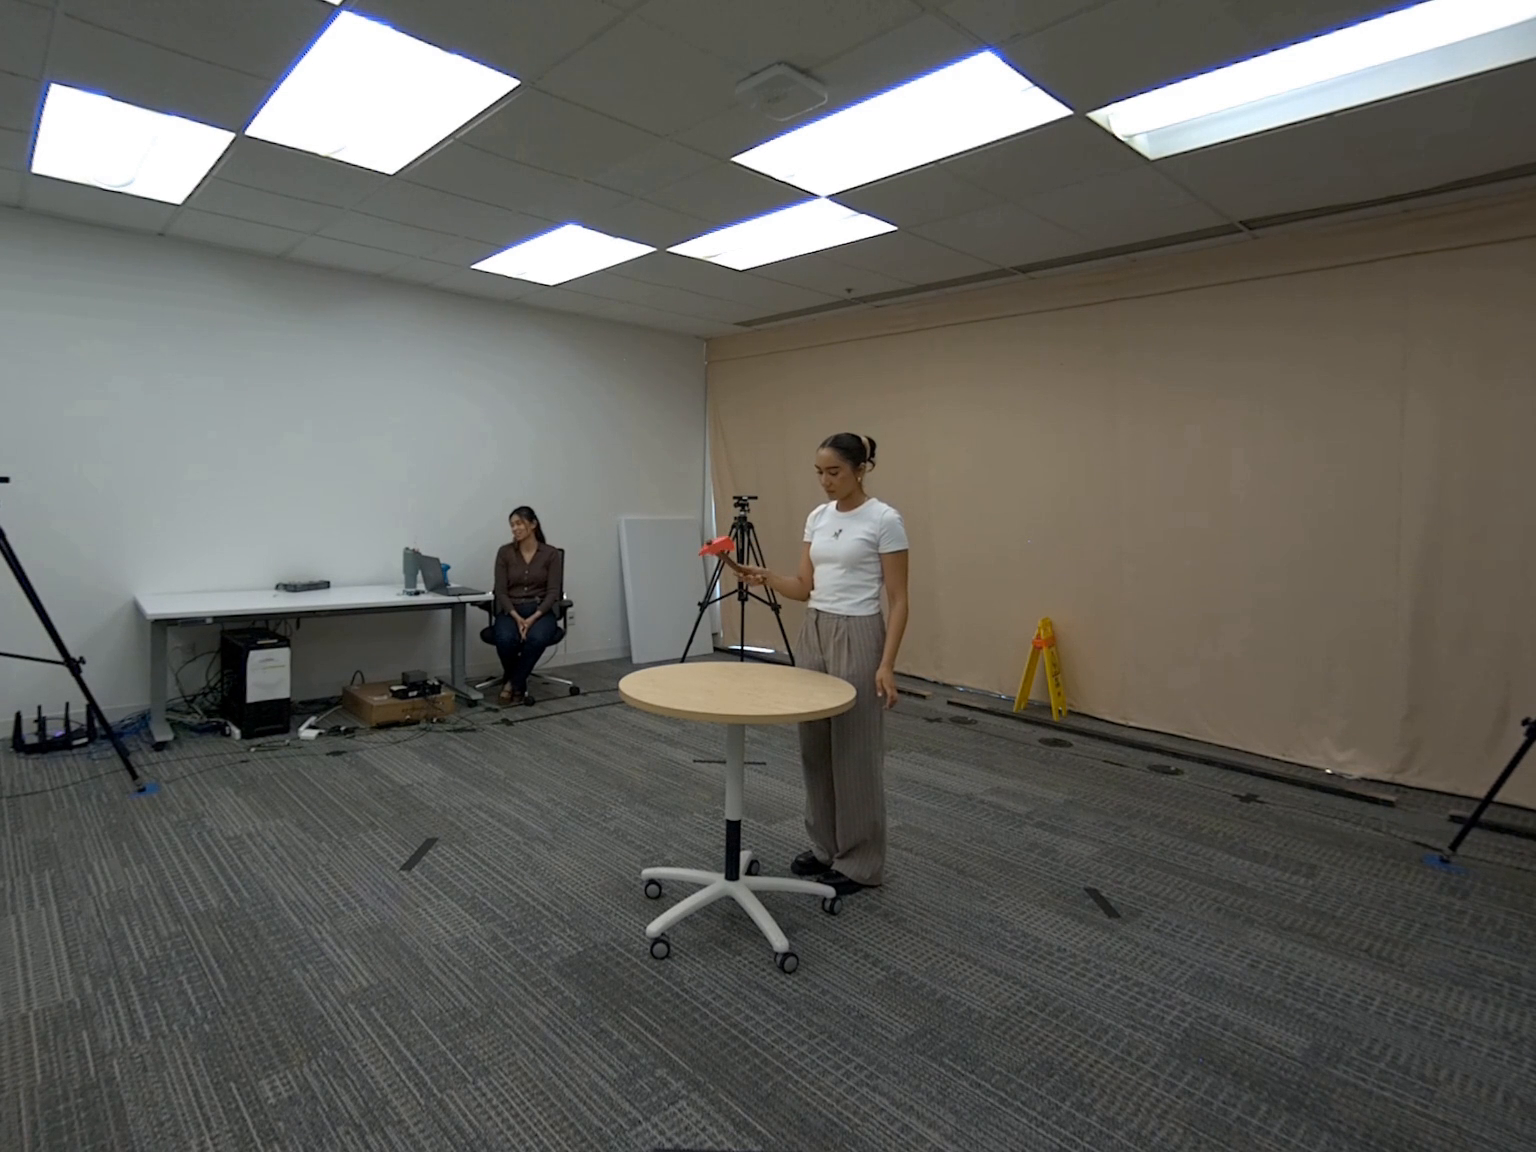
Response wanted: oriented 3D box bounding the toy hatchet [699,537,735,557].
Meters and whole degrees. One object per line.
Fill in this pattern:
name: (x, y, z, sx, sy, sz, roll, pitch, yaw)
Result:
toy hatchet: (-0.100, -0.062, 2.881, 0.264, 0.131, 0.030, 22, 38, -23)
